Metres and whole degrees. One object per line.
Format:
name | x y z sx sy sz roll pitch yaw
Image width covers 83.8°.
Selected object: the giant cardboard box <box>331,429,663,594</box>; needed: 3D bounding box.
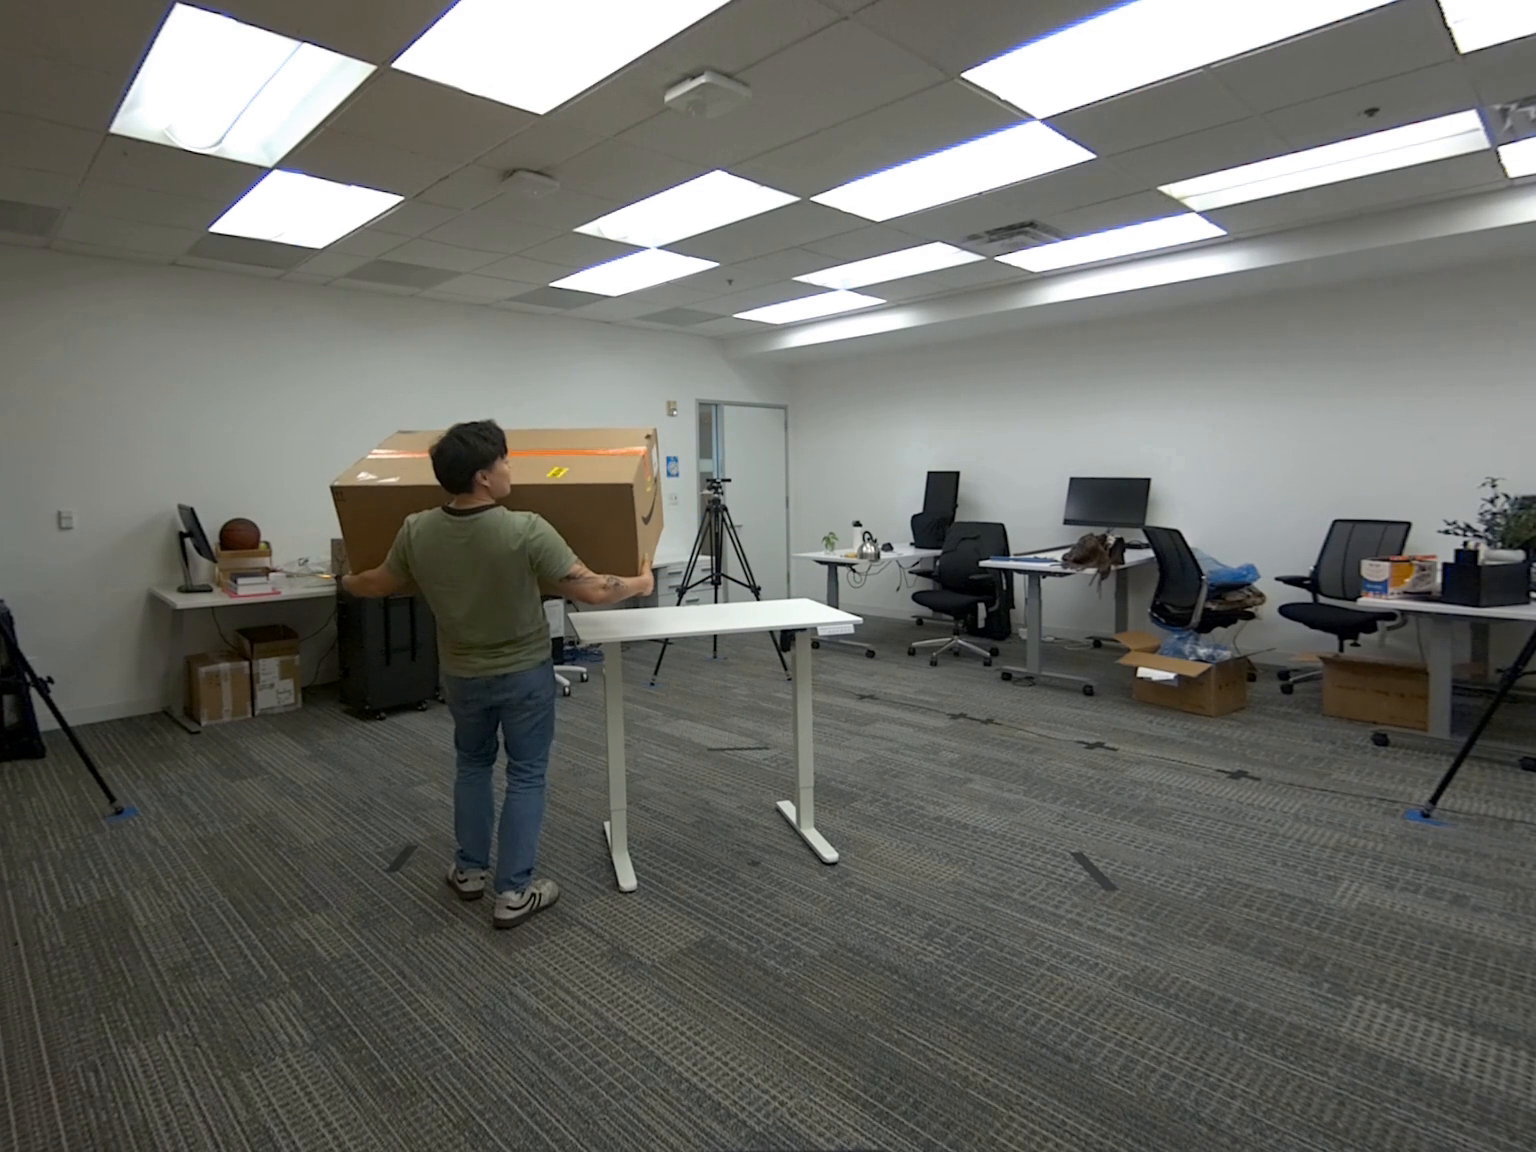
giant cardboard box | -0.942 -0.265 3.133 1.030 0.416 0.588 0 28 4
